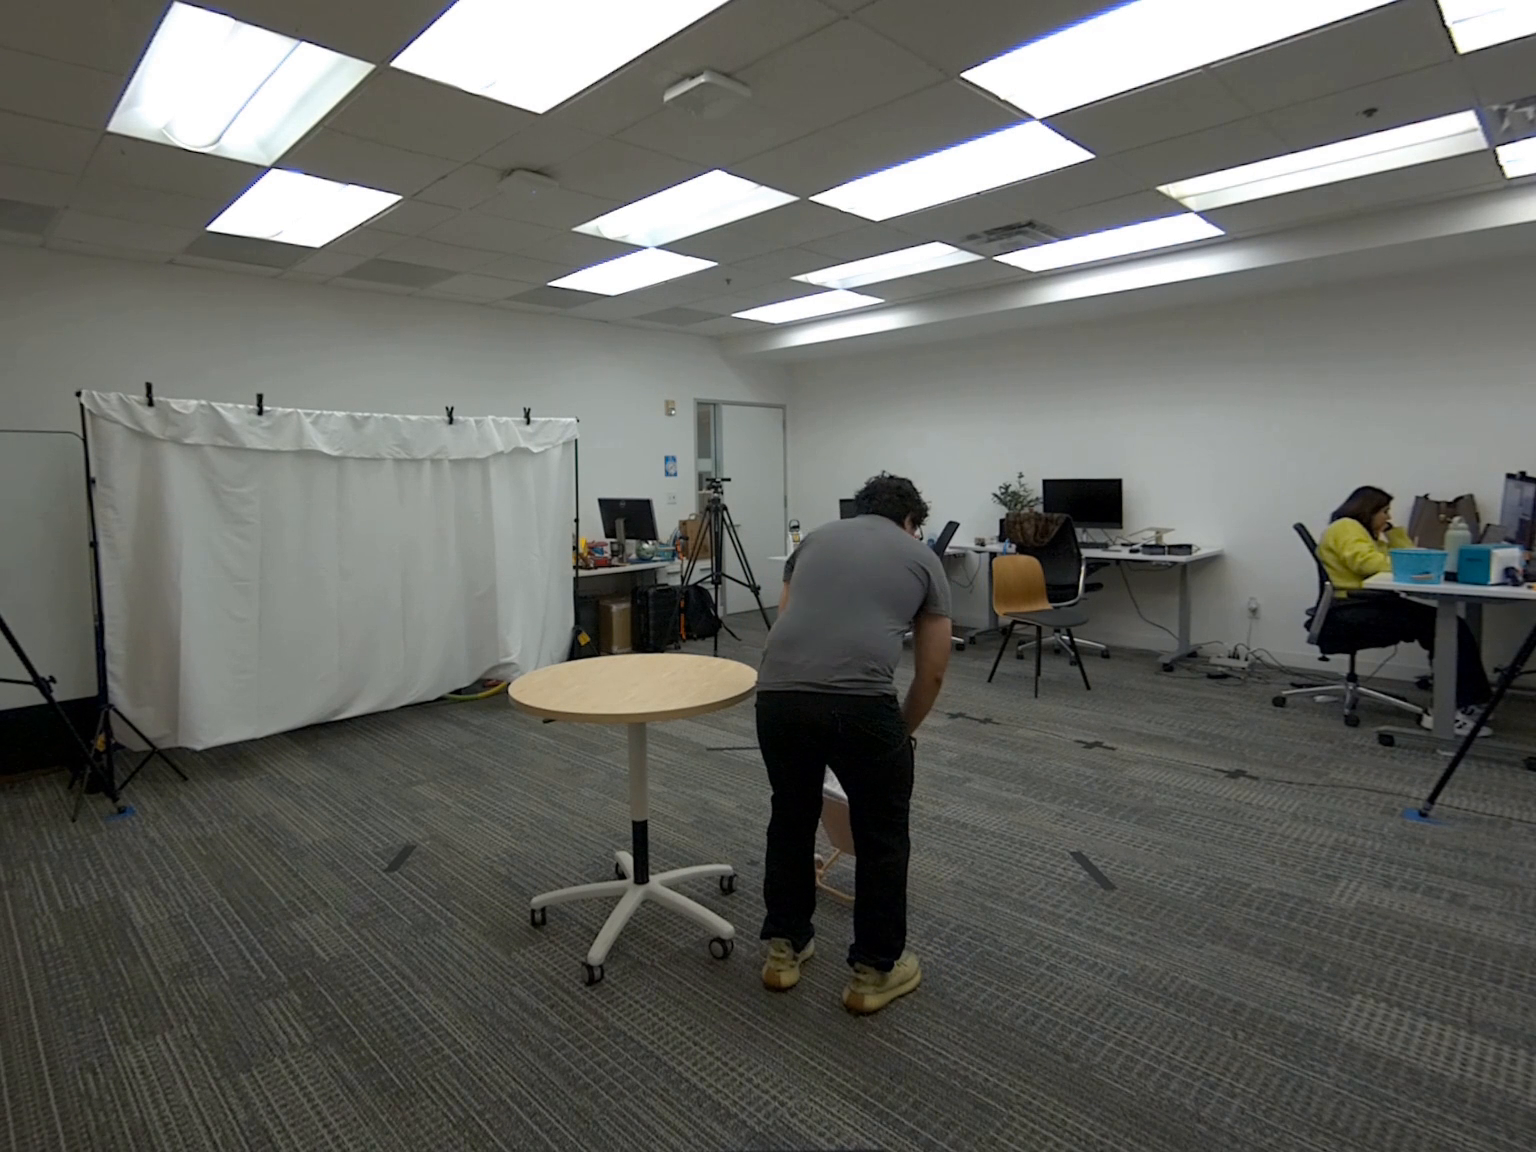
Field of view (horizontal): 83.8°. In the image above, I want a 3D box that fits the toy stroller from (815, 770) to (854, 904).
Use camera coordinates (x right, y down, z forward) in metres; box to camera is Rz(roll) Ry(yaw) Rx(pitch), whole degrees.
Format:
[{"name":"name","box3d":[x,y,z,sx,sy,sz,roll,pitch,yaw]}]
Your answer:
[{"name":"toy stroller","box3d":[0.293,0.841,2.856,0.336,0.527,0.290,-23,17,-36]}]
